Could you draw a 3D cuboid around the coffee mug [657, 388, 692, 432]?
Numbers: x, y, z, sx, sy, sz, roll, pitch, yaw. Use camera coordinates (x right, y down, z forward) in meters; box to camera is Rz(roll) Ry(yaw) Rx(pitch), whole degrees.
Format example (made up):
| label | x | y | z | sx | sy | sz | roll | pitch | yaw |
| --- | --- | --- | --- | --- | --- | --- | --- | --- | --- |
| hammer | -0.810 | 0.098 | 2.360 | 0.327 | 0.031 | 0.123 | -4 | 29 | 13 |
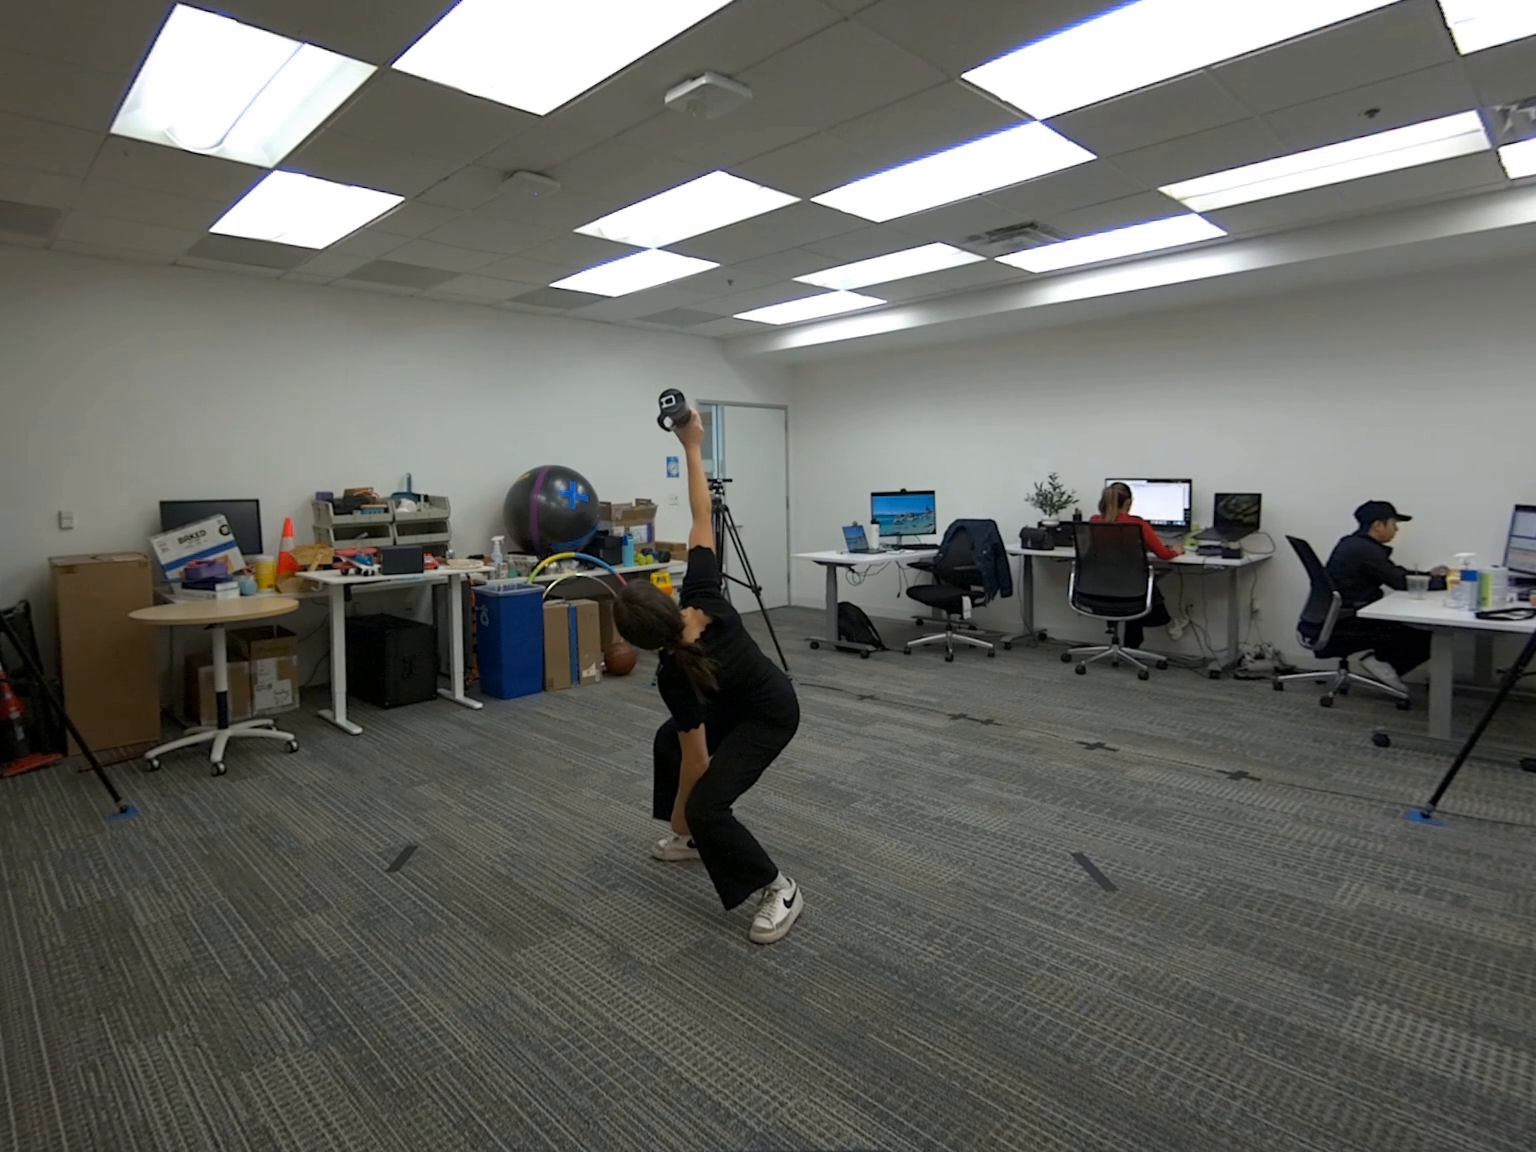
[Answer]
| label | x | y | z | sx | sy | sz | roll | pitch | yaw |
| --- | --- | --- | --- | --- | --- | --- | --- | --- | --- |
| coffee mug | -0.314 | -0.542 | 2.857 | 0.122 | 0.090 | 0.199 | -28 | -15 | 0 |
